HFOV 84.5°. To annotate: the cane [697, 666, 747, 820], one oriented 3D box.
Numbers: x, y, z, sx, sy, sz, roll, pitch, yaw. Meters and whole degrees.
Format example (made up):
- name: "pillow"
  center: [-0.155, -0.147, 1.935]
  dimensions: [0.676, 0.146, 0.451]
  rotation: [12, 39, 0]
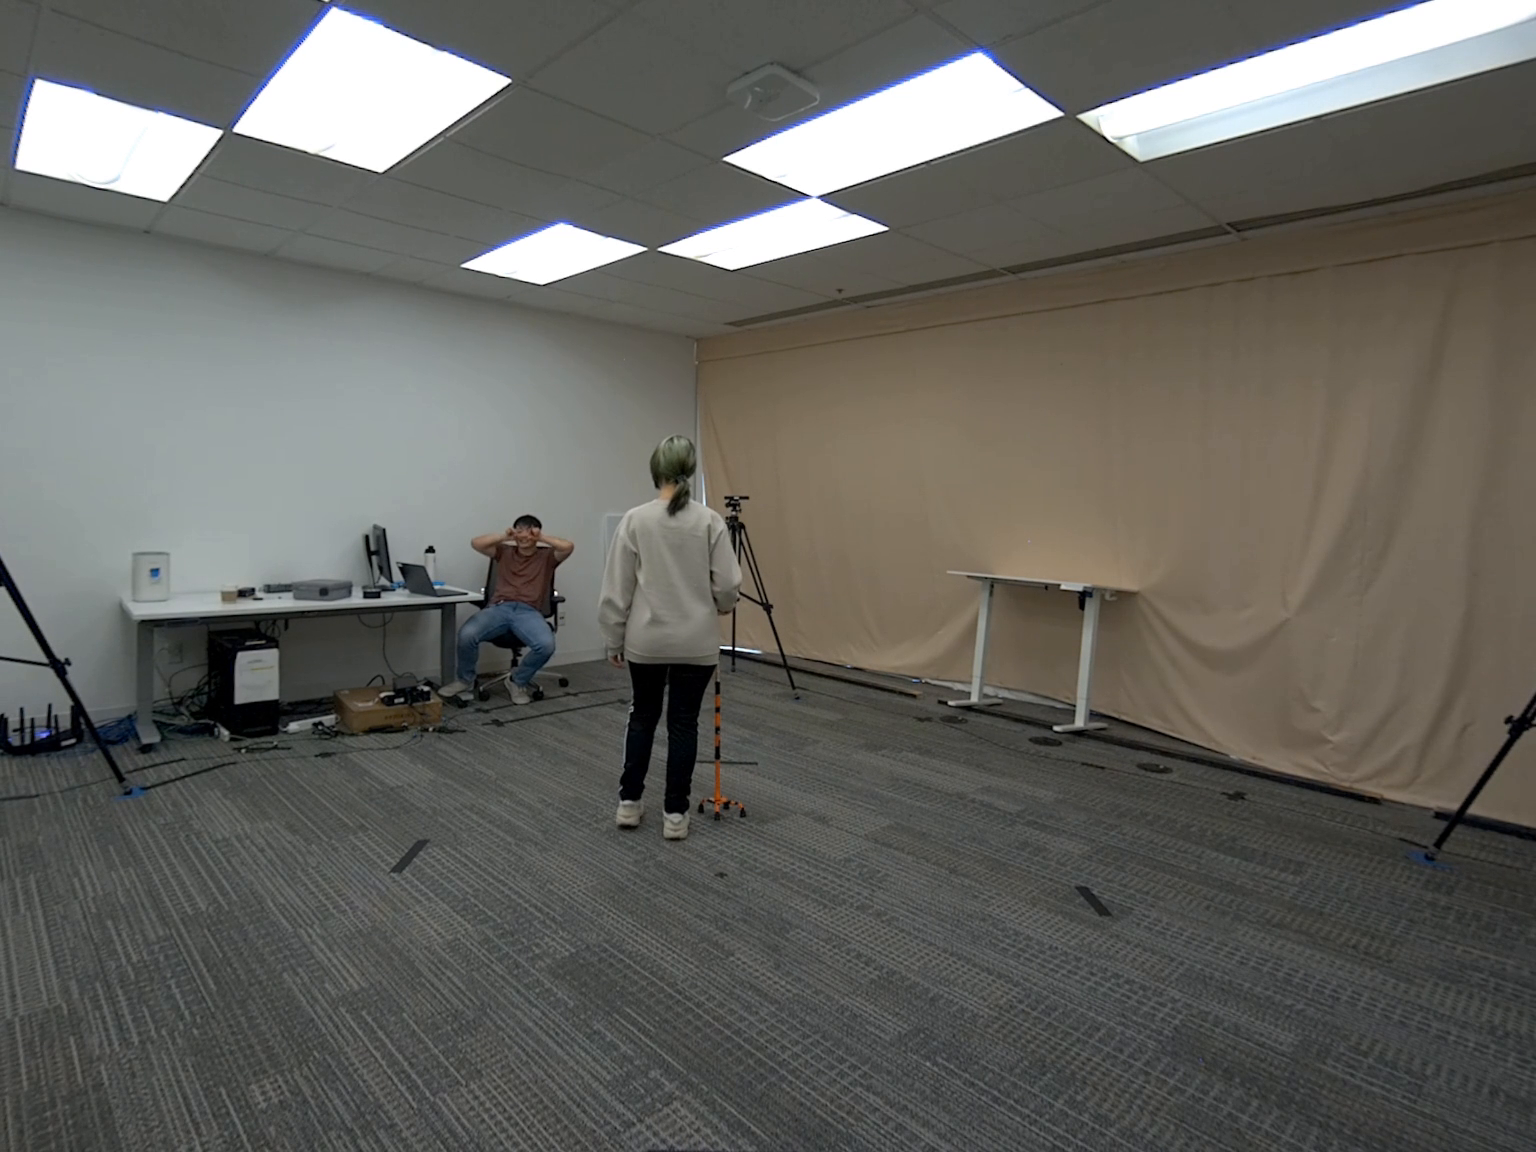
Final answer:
- name: "cane"
  center: [-0.208, 0.586, 3.712]
  dimensions: [0.148, 0.911, 0.210]
  rotation: [3, -5, -29]
